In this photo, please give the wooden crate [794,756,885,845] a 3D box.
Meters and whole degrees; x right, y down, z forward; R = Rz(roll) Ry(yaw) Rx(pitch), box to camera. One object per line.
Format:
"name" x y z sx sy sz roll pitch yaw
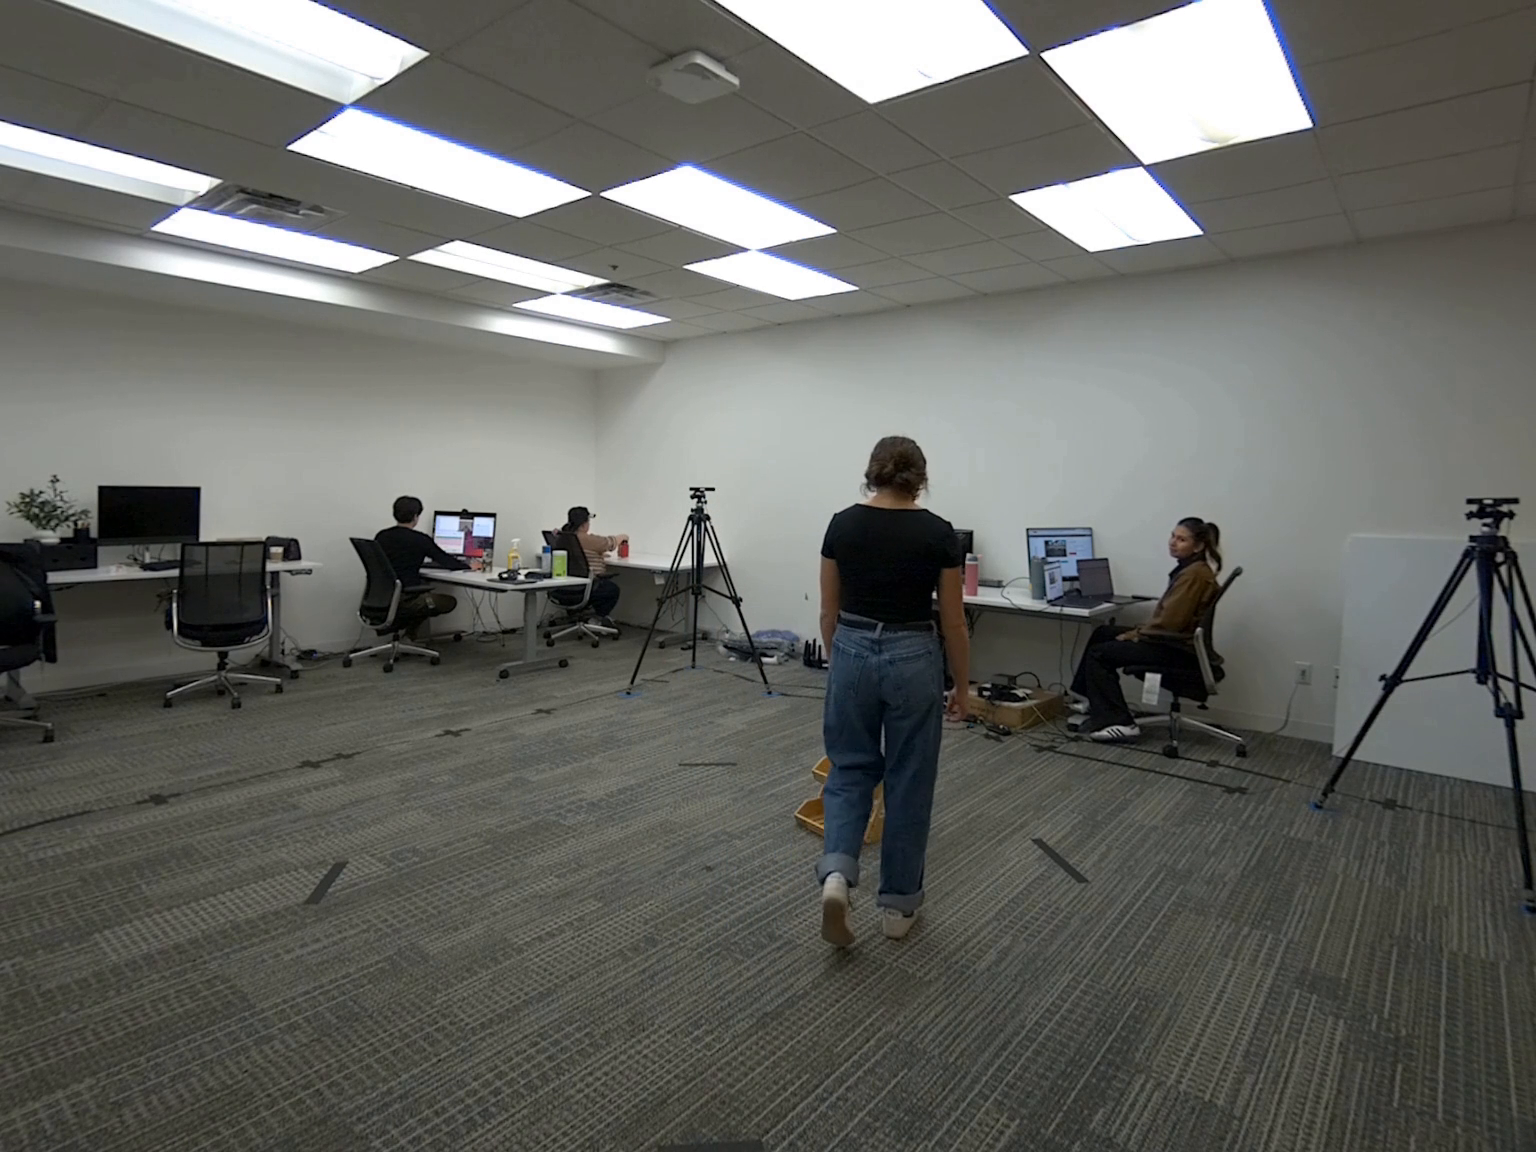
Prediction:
"wooden crate" 0.314 0.900 3.486 0.293 0.272 0.335 -1 5 -37
